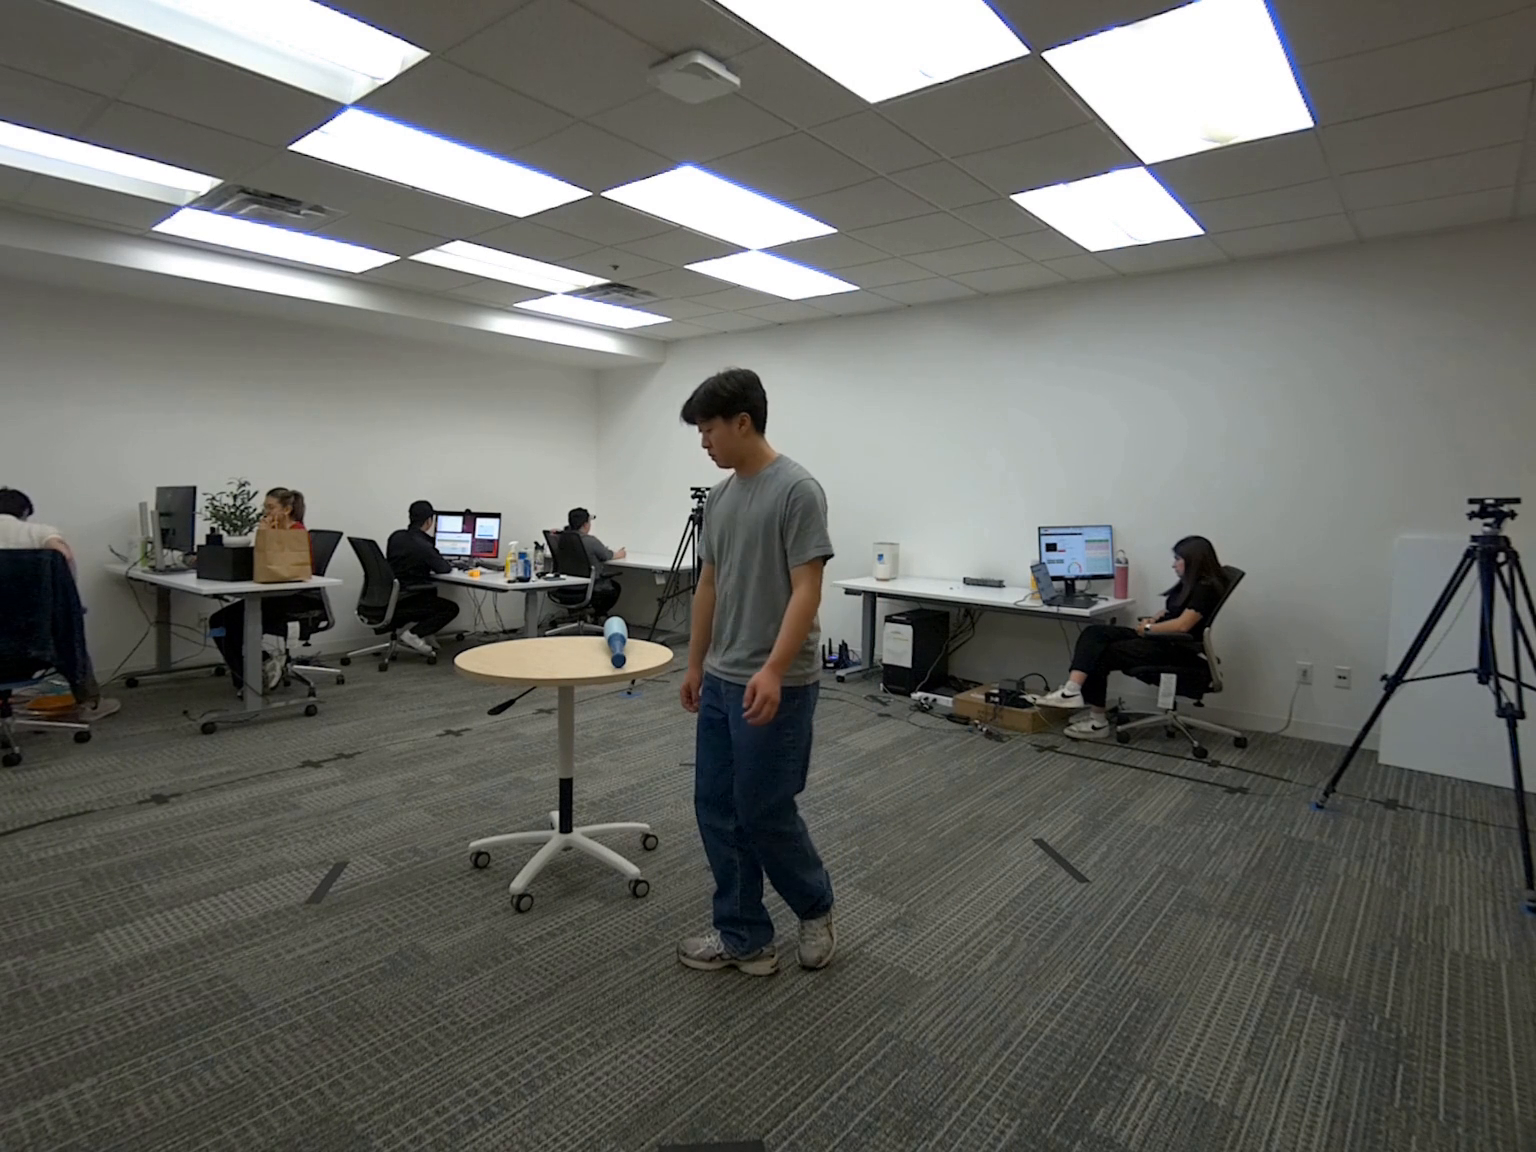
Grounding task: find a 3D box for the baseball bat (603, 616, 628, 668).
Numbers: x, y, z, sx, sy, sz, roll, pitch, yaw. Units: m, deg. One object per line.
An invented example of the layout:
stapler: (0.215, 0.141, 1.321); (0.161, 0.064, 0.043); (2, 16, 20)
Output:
baseball bat: (-0.558, 0.241, 3.077); (0.088, 0.088, 0.554); (0, 9, -14)
